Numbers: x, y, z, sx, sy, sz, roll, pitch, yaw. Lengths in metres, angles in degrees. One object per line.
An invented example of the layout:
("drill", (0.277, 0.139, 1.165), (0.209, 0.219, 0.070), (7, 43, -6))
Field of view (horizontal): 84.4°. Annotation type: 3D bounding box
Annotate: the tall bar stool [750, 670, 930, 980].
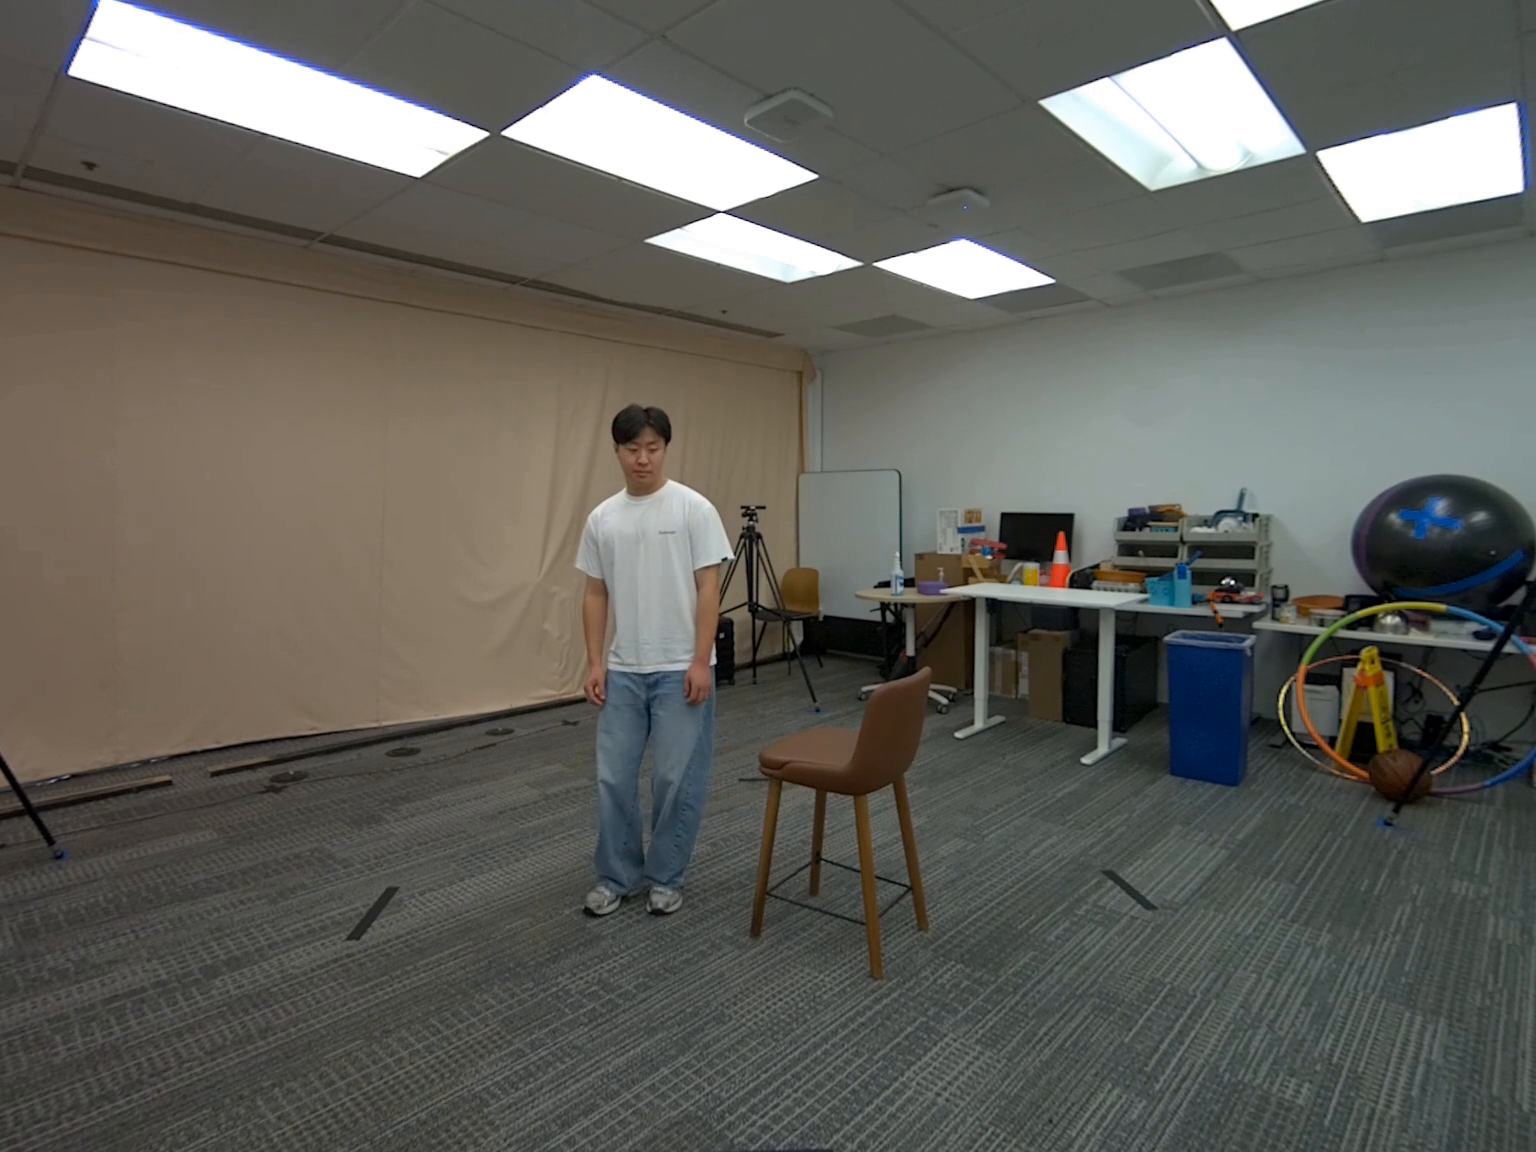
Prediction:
("tall bar stool", (0.245, 0.728, 2.718), (0.483, 0.887, 0.443), (5, 6, 35))
